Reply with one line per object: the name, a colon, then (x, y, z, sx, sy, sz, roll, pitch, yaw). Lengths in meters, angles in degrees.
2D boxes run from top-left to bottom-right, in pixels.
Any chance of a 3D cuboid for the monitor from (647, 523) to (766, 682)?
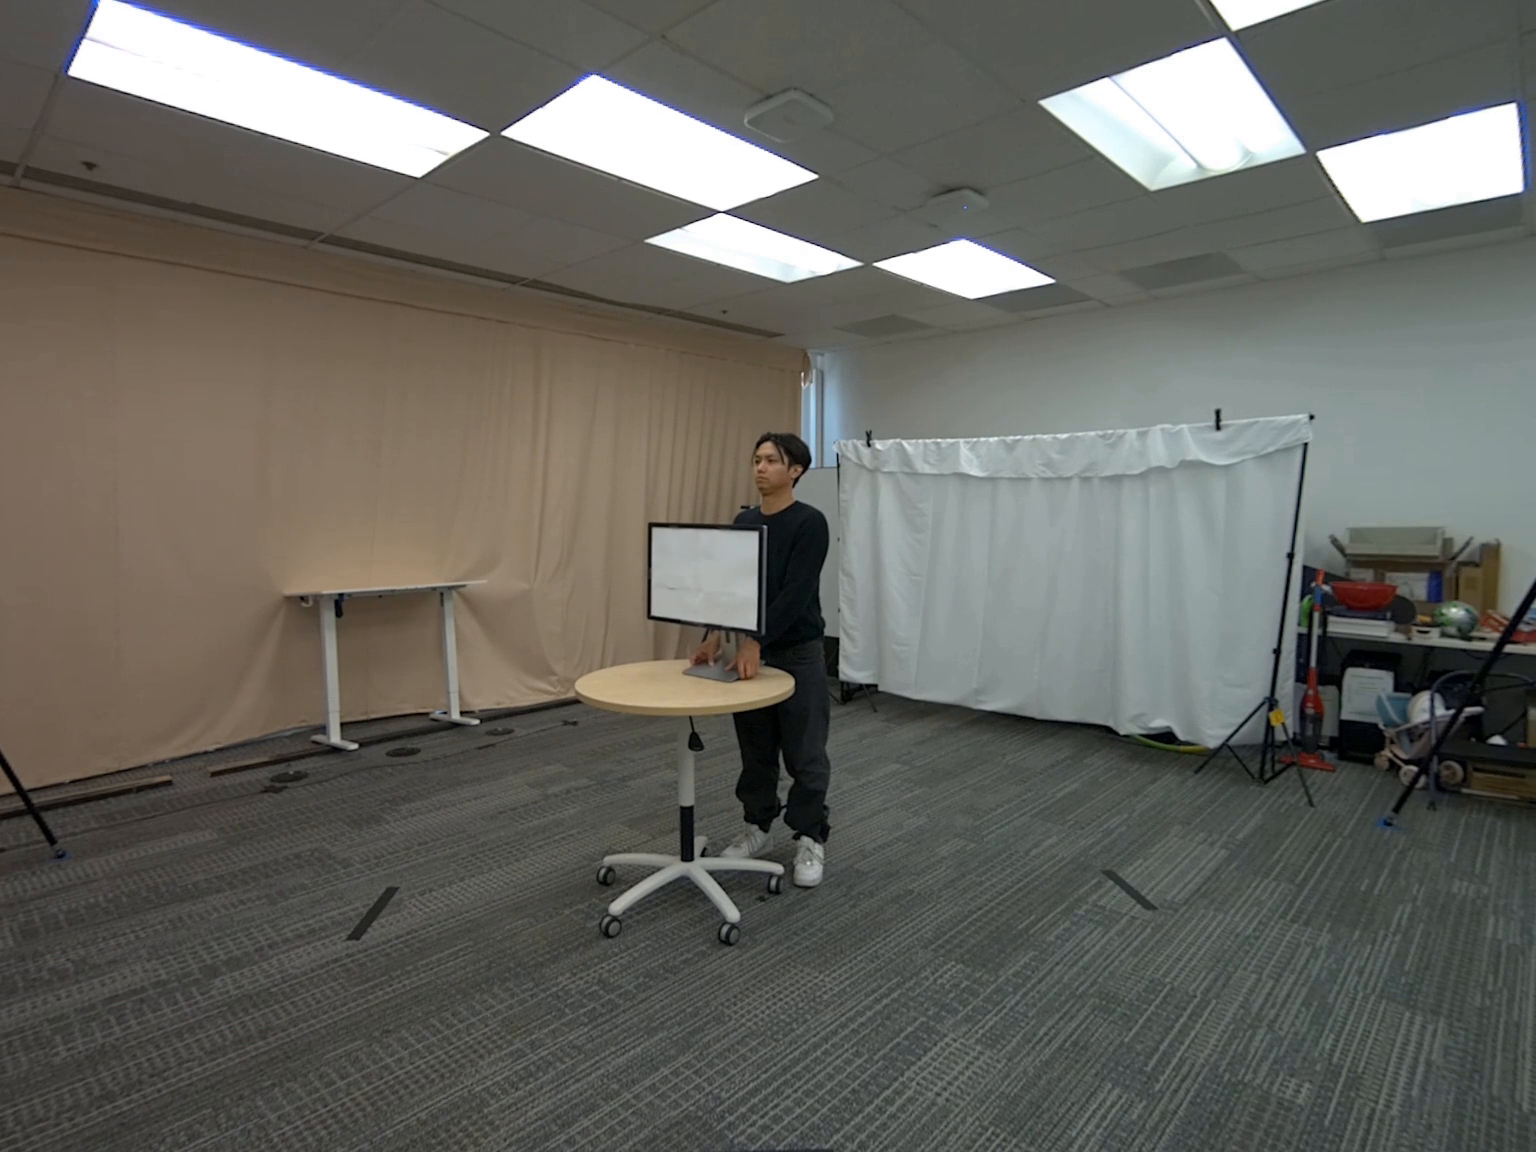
monitor: (-0.195, 0.079, 3.006, 0.557, 0.518, 0.182, 3, 15, 41)
